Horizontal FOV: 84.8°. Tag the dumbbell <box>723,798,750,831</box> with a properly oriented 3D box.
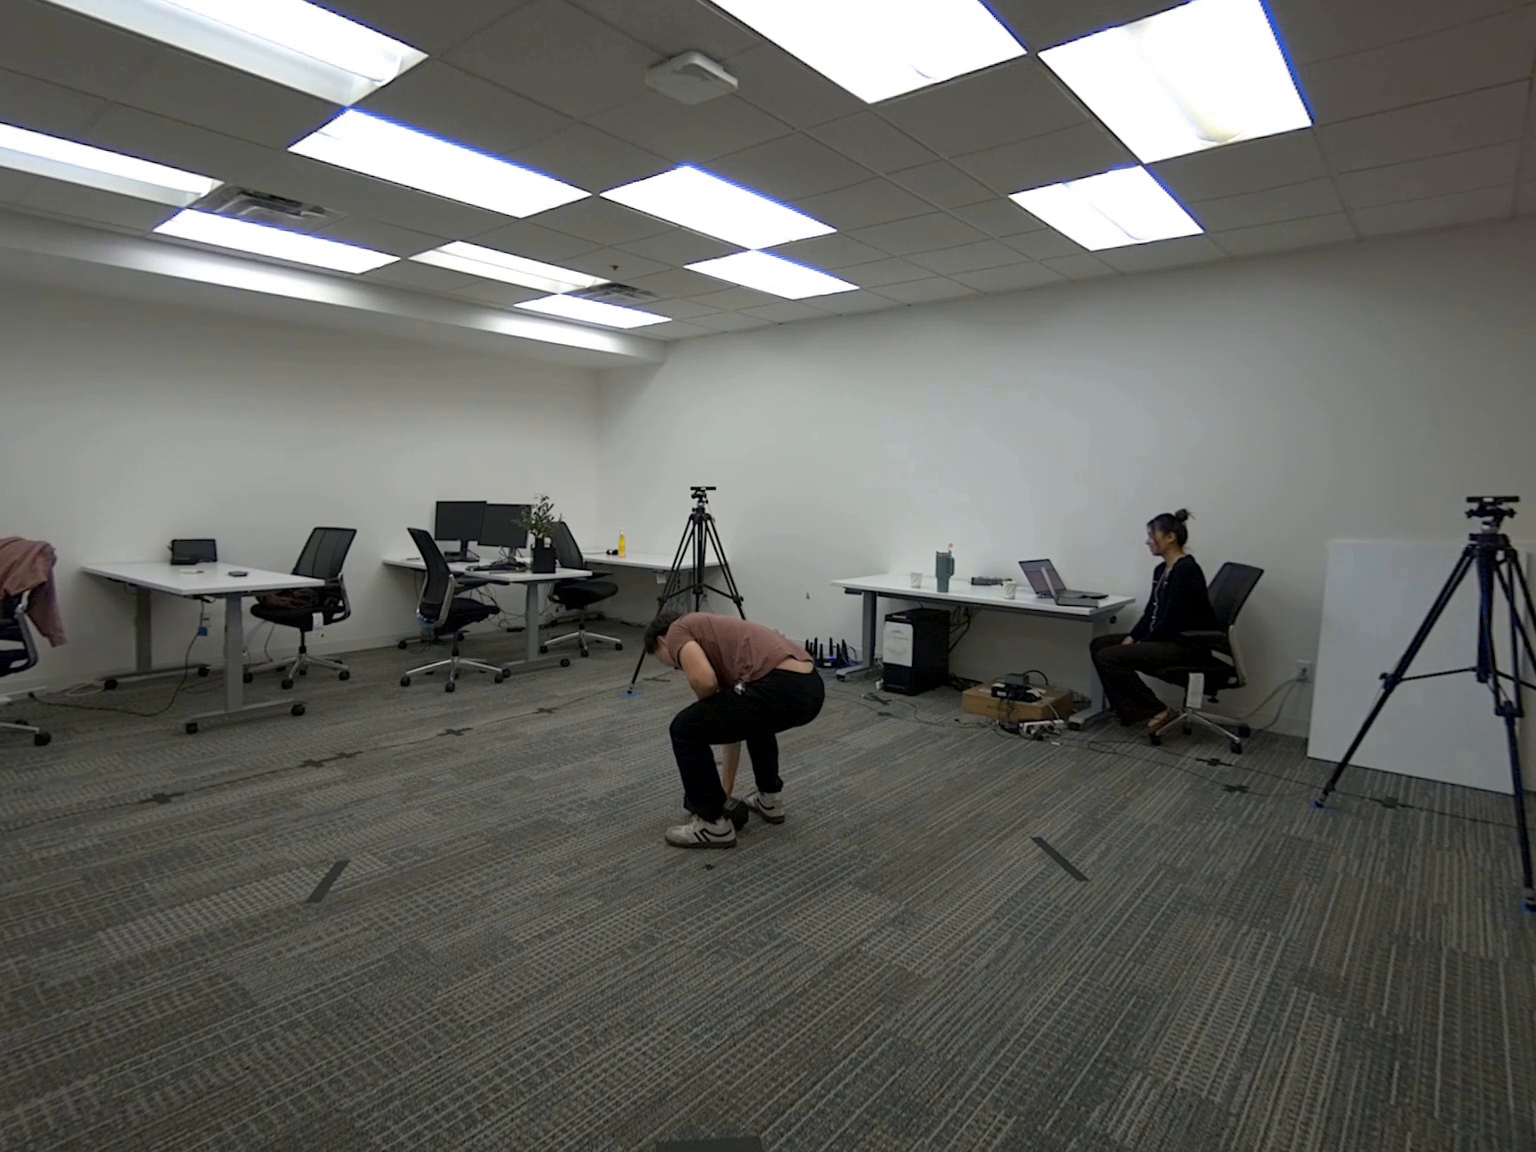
[{"bbox_3d":[-0.227,0.950,3.548,0.304,0.123,0.105,6,1,44],"label":"dumbbell"}]
